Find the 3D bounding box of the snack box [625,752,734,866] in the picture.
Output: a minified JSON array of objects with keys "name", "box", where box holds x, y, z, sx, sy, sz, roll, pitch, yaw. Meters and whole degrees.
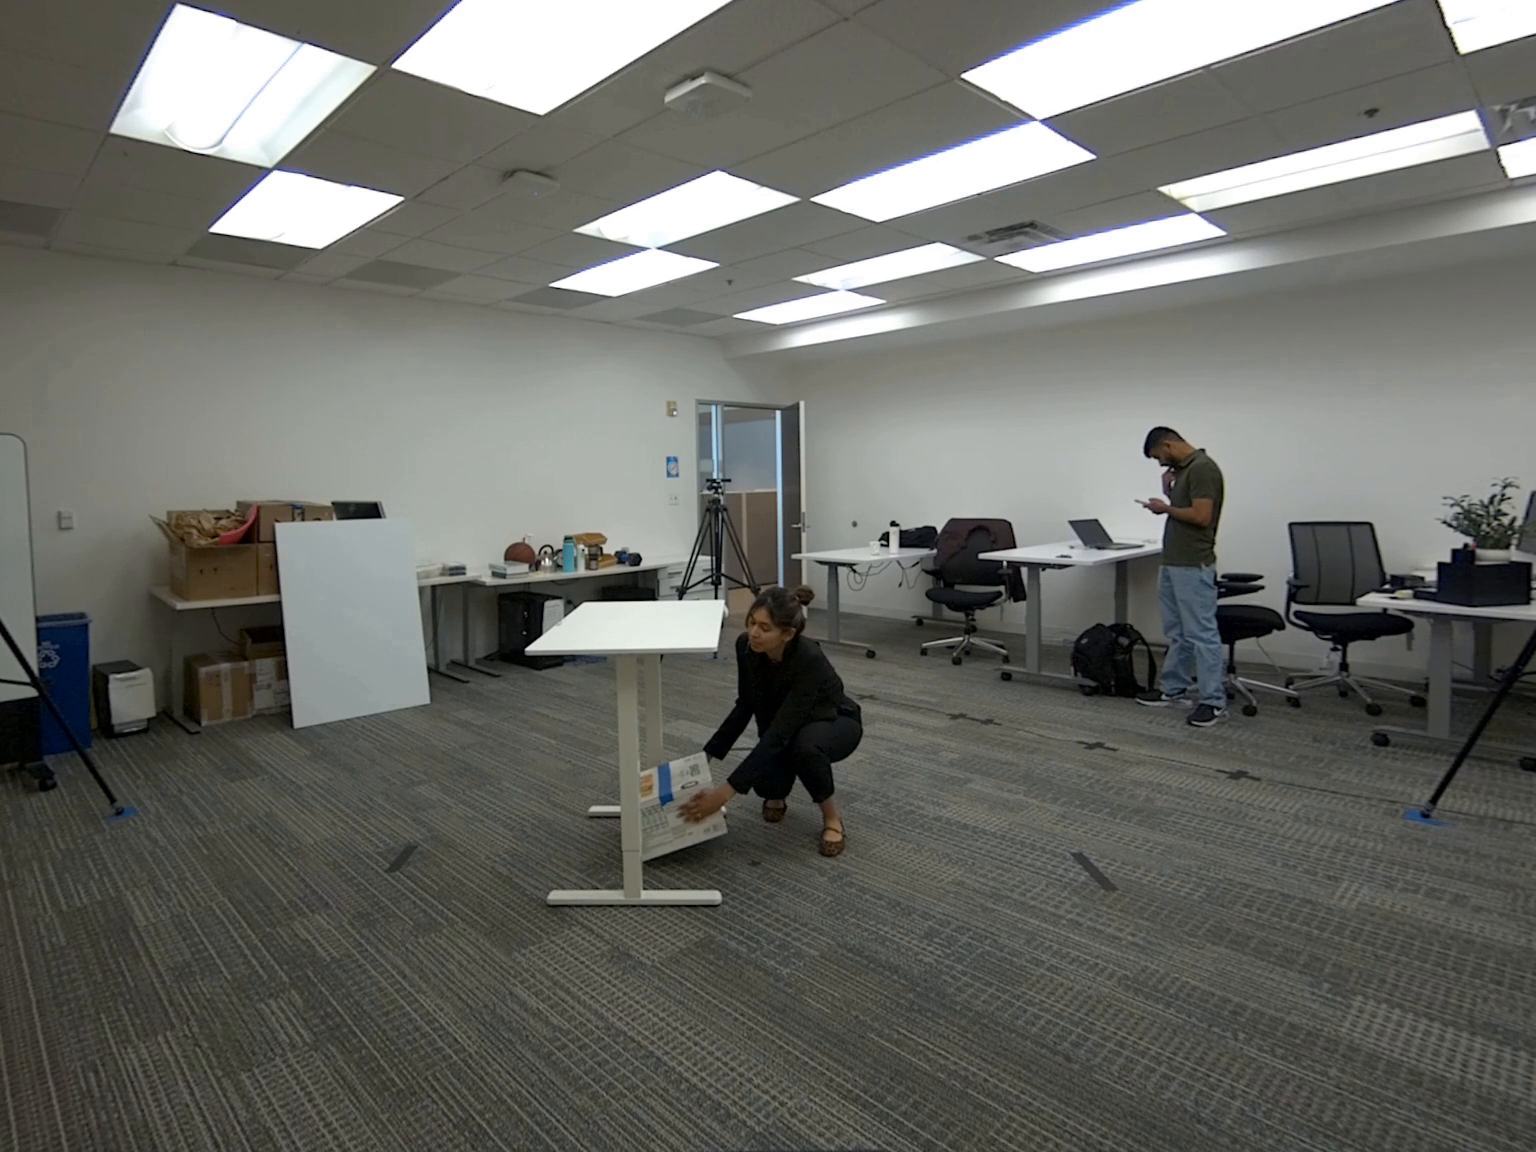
[{"name":"snack box","box":[-0.346,0.865,3.246,0.339,0.205,0.408,-17,5,-7]}]
